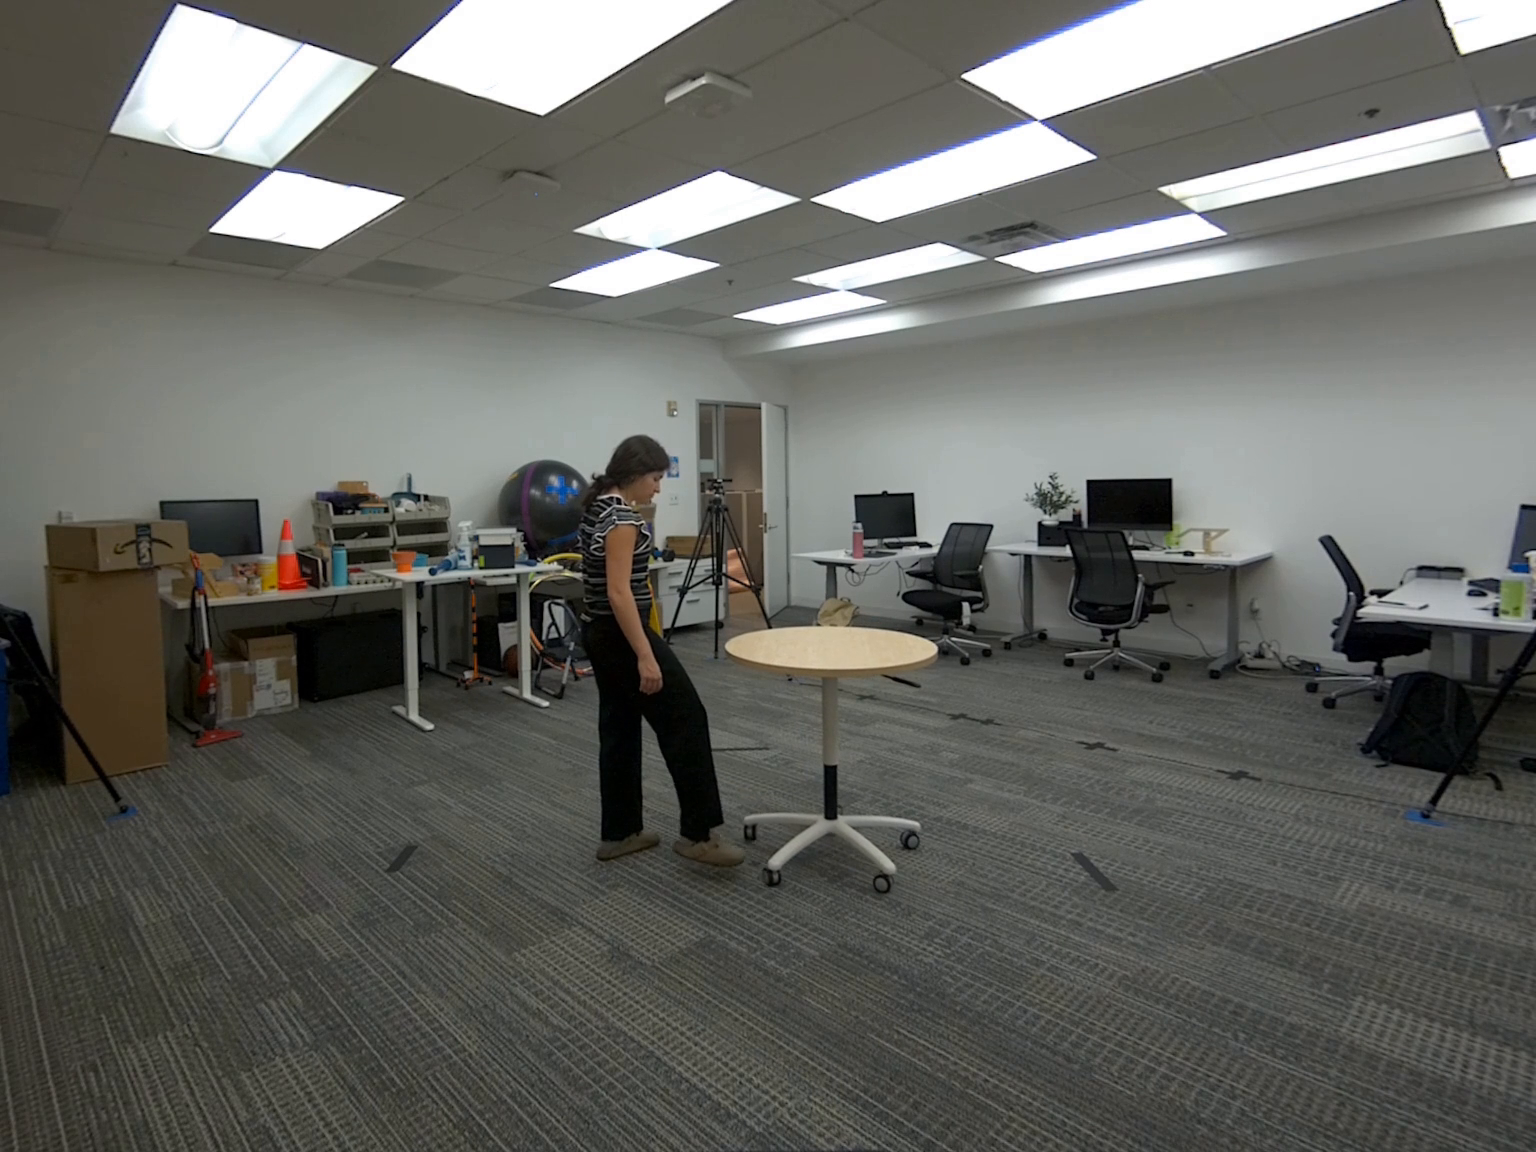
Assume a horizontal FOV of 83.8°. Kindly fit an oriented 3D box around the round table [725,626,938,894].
[{"bbox_3d":[0.217,0.635,3.152,0.784,0.783,0.789,-1,5,-2],"label":"round table"}]
